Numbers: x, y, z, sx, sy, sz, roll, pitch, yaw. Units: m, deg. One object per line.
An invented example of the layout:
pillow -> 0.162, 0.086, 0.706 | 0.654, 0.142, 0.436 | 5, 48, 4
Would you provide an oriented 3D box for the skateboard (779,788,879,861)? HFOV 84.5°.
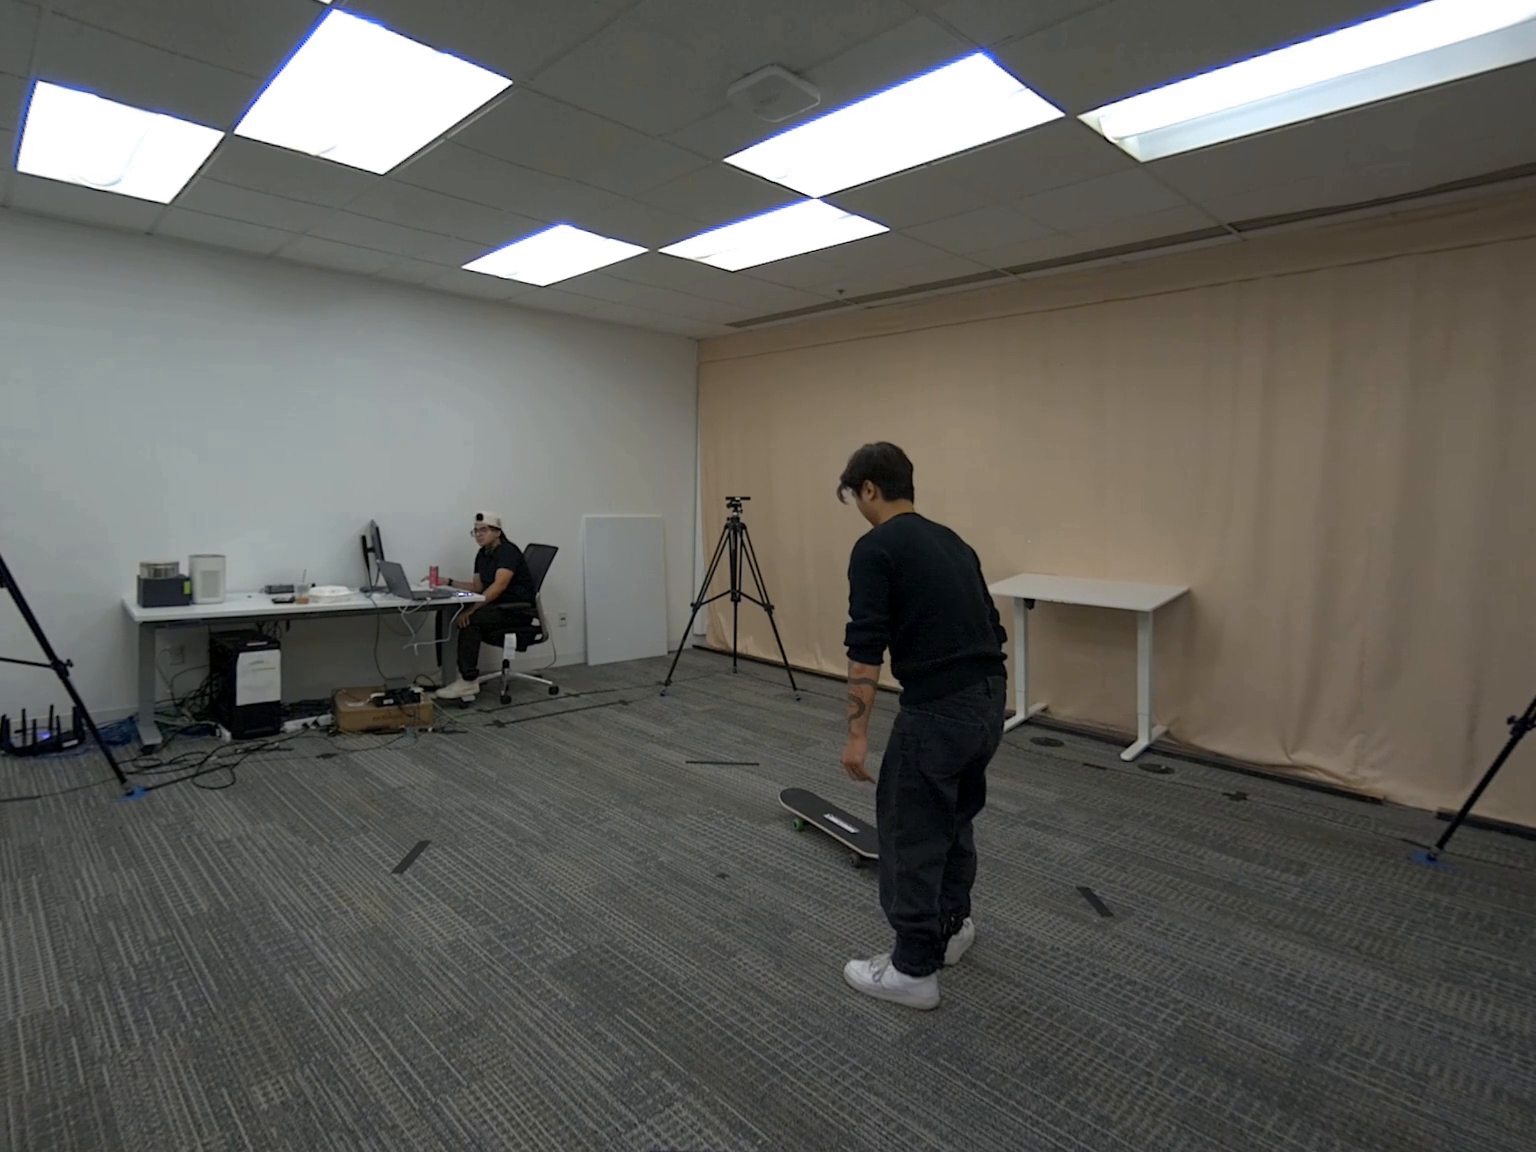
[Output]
skateboard -> 0.290, 1.034, 3.420 | 0.189, 0.110, 0.803 | 0, 5, -30
